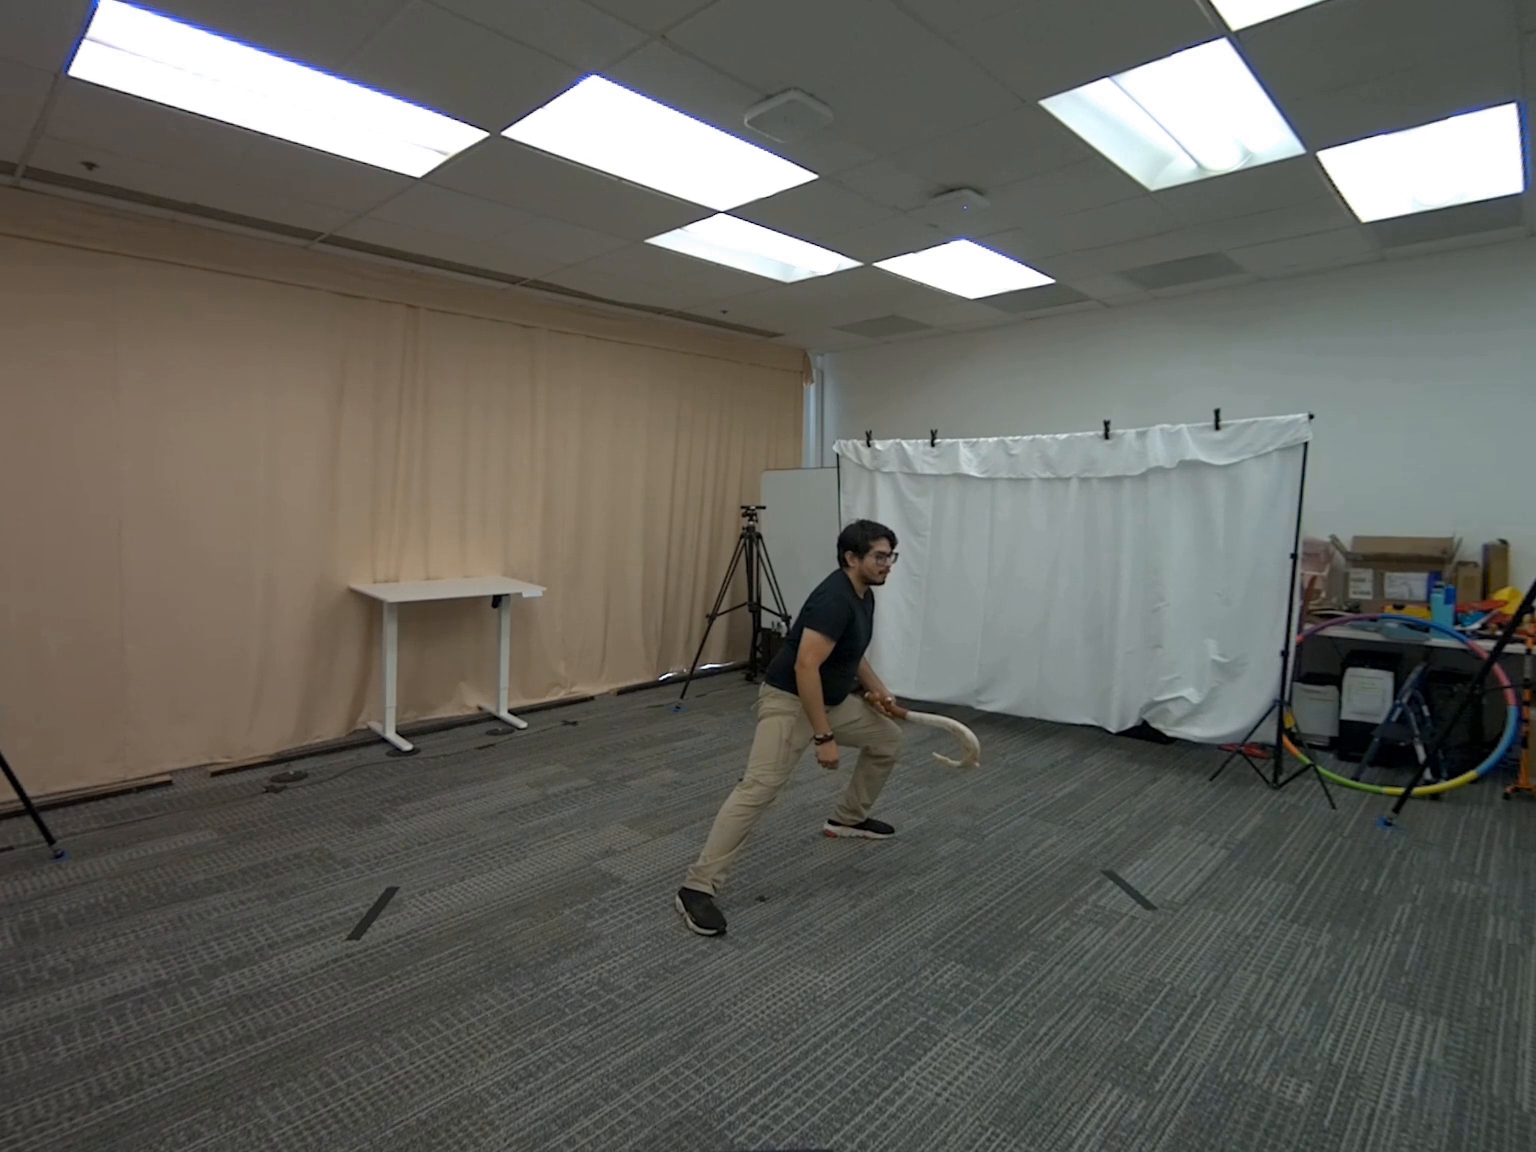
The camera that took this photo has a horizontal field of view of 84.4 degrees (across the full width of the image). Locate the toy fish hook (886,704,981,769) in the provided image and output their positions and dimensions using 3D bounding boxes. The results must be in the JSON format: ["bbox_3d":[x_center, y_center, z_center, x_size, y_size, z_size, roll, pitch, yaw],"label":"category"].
[{"bbox_3d":[0.600,0.610,3.288,0.525,0.222,0.047,20,29,38],"label":"toy fish hook"}]
